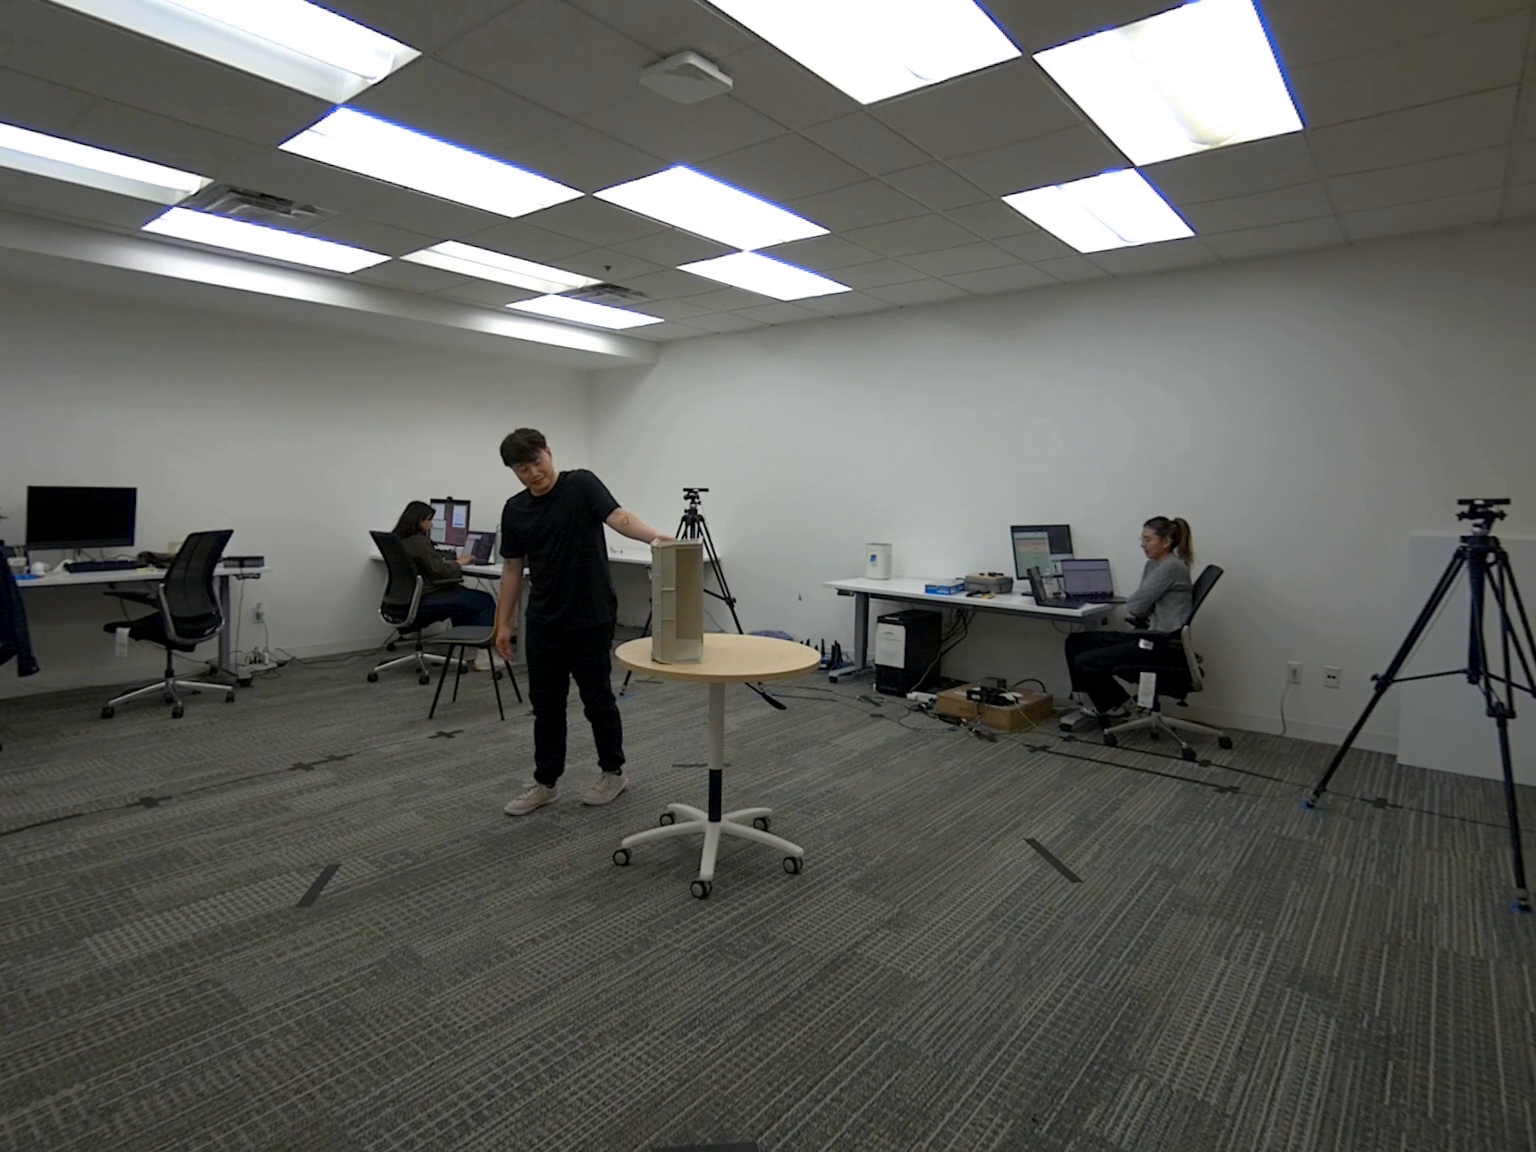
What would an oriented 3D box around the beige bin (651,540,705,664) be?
[{"bbox_3d":[-0.333,0.075,3.117,0.188,0.420,0.380,1,5,-4],"label":"beige bin"}]
